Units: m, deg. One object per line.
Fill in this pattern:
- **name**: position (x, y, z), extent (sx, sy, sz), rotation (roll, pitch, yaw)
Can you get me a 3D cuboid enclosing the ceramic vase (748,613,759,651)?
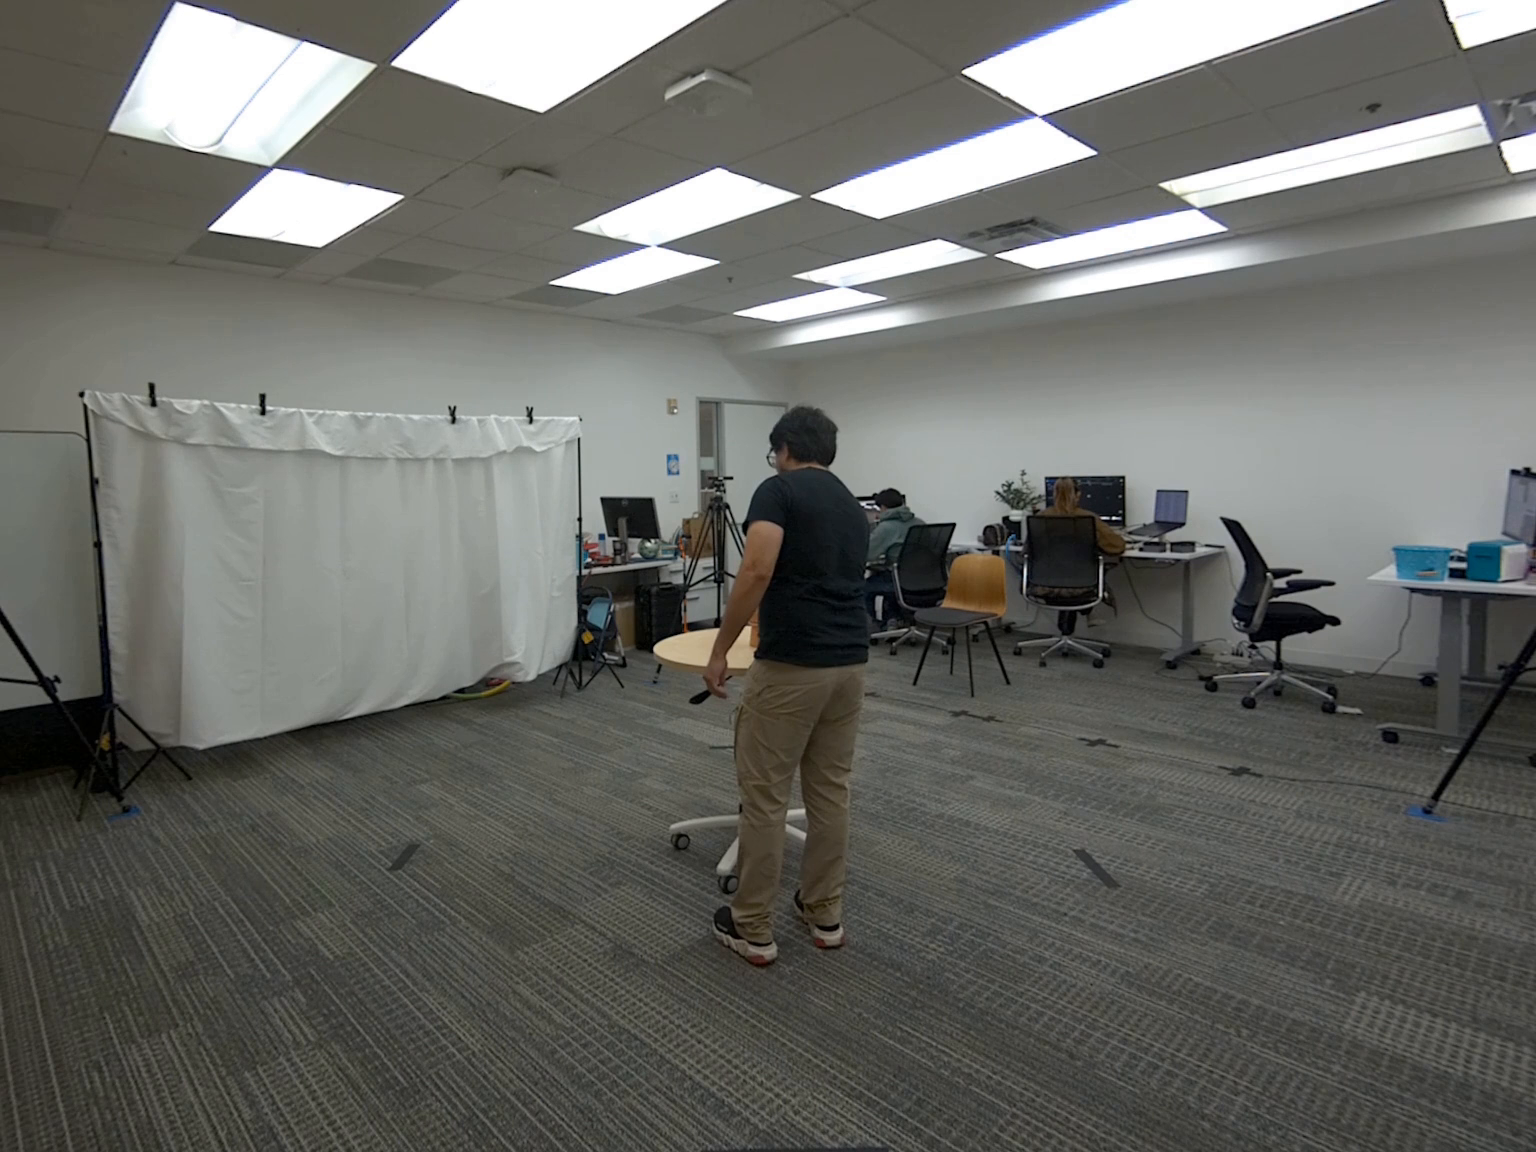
- **ceramic vase**: position (-0.010, 0.141, 3.106), extent (0.138, 0.219, 0.155), rotation (1, 5, 40)
